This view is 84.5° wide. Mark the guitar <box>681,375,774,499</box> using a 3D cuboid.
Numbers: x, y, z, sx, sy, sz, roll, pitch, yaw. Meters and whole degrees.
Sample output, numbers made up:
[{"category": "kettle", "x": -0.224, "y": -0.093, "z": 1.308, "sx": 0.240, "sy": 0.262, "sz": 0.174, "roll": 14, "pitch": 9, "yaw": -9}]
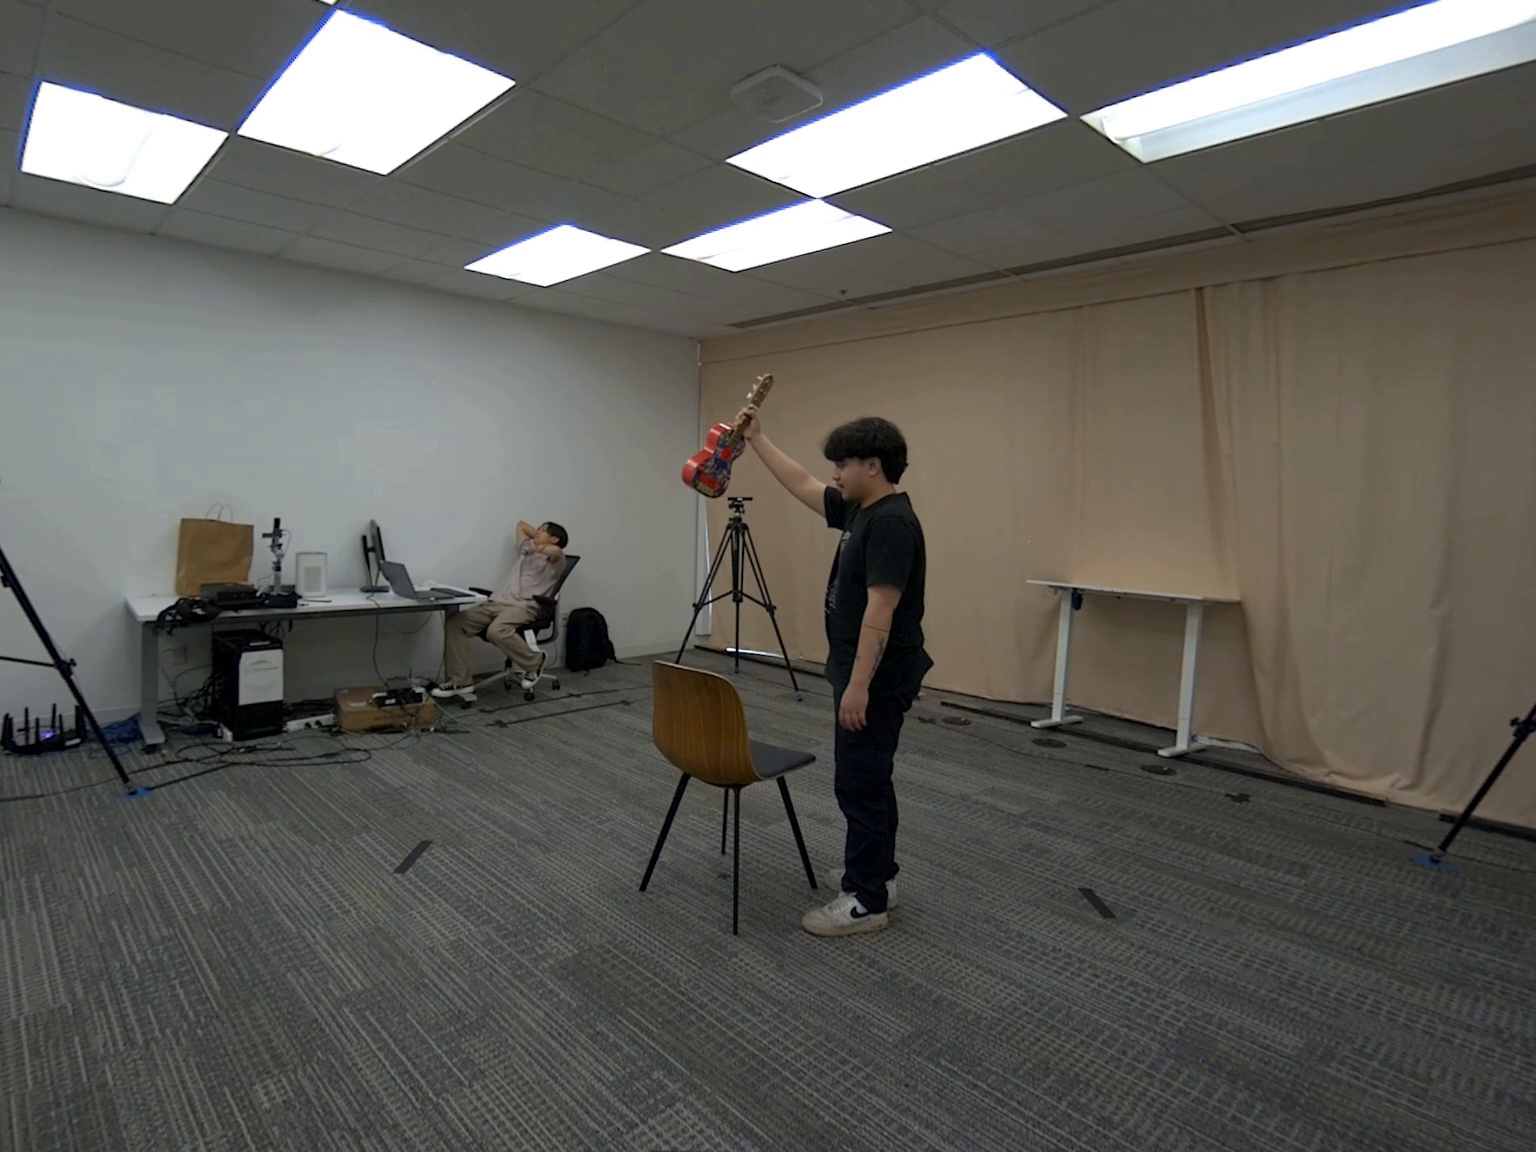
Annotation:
[{"category": "guitar", "x": -0.125, "y": -0.507, "z": 3.113, "sx": 0.073, "sy": 0.498, "sz": 0.187, "roll": 33, "pitch": -4, "yaw": 43}]
